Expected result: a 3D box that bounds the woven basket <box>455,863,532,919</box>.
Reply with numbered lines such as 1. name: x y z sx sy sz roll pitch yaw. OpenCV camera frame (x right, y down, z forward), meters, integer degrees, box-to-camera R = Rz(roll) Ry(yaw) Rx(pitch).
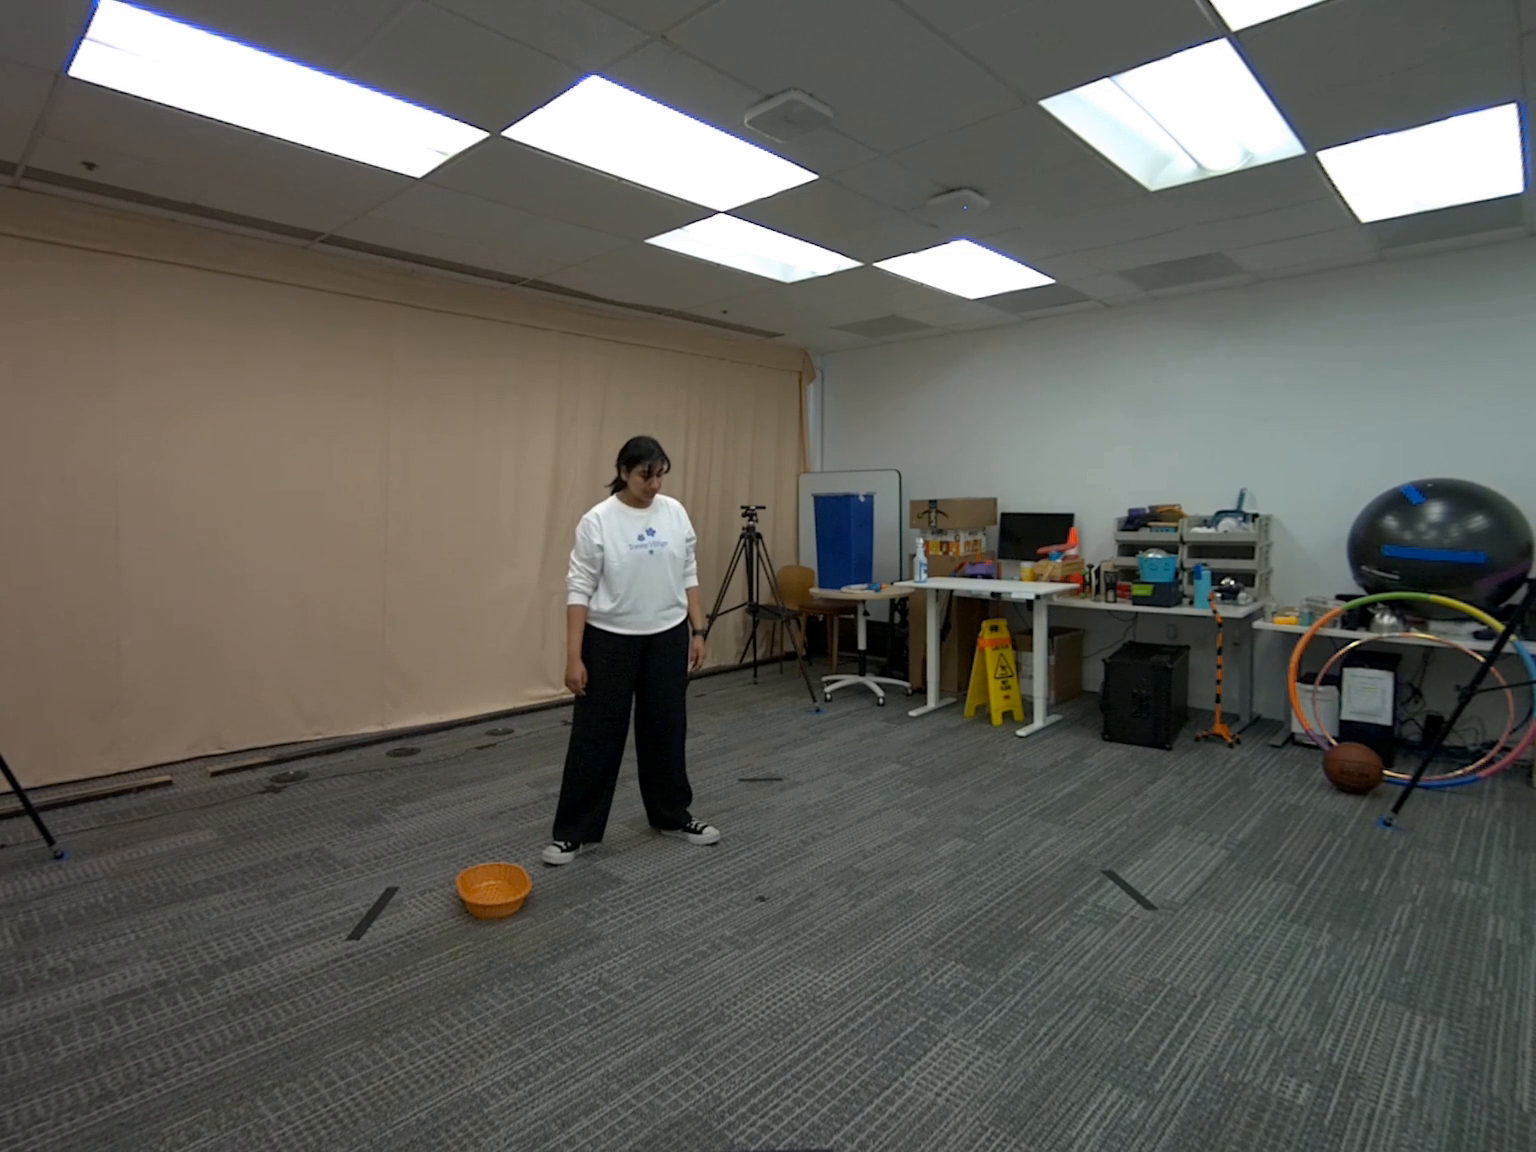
1. woven basket: -0.971 1.116 2.983 0.246 0.073 0.360 -1 4 -28
